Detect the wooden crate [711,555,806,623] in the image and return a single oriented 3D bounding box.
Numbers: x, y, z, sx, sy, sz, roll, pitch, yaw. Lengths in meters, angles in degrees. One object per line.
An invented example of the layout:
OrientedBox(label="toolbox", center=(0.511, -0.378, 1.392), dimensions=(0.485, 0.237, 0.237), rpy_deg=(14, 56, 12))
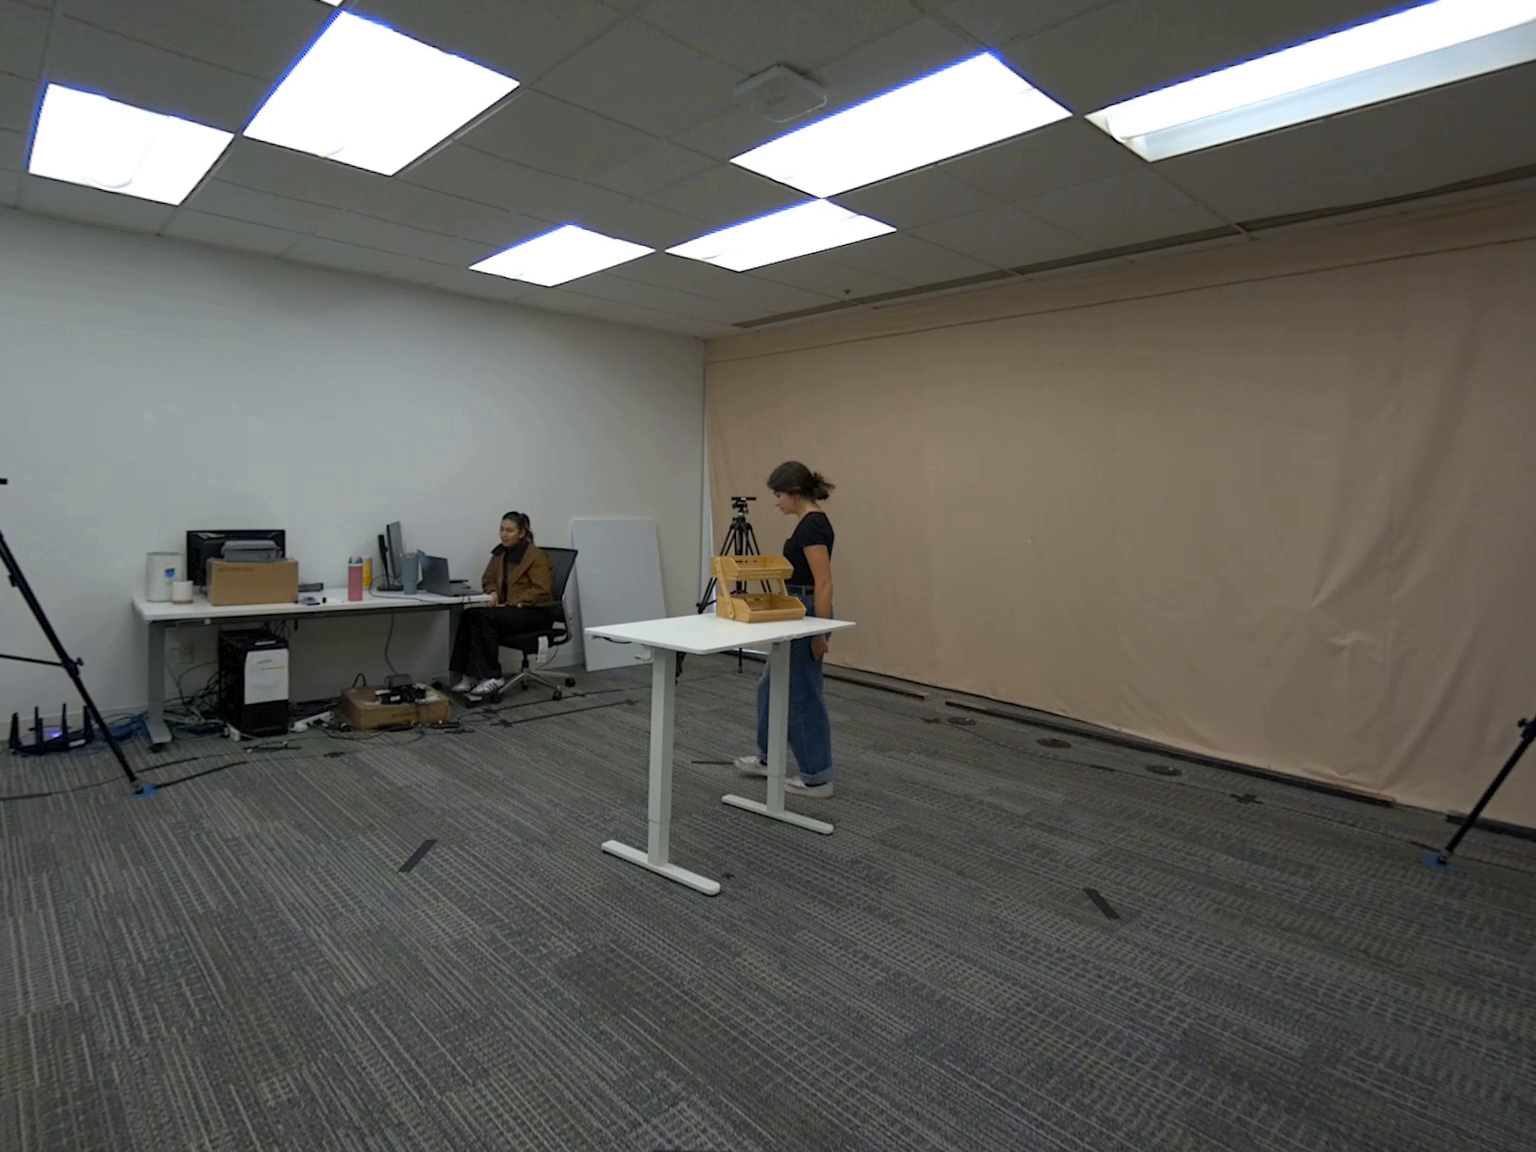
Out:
OrientedBox(label="wooden crate", center=(-0.052, 0.047, 3.654), dimensions=(0.317, 0.273, 0.309), rpy_deg=(-1, 3, -37))
